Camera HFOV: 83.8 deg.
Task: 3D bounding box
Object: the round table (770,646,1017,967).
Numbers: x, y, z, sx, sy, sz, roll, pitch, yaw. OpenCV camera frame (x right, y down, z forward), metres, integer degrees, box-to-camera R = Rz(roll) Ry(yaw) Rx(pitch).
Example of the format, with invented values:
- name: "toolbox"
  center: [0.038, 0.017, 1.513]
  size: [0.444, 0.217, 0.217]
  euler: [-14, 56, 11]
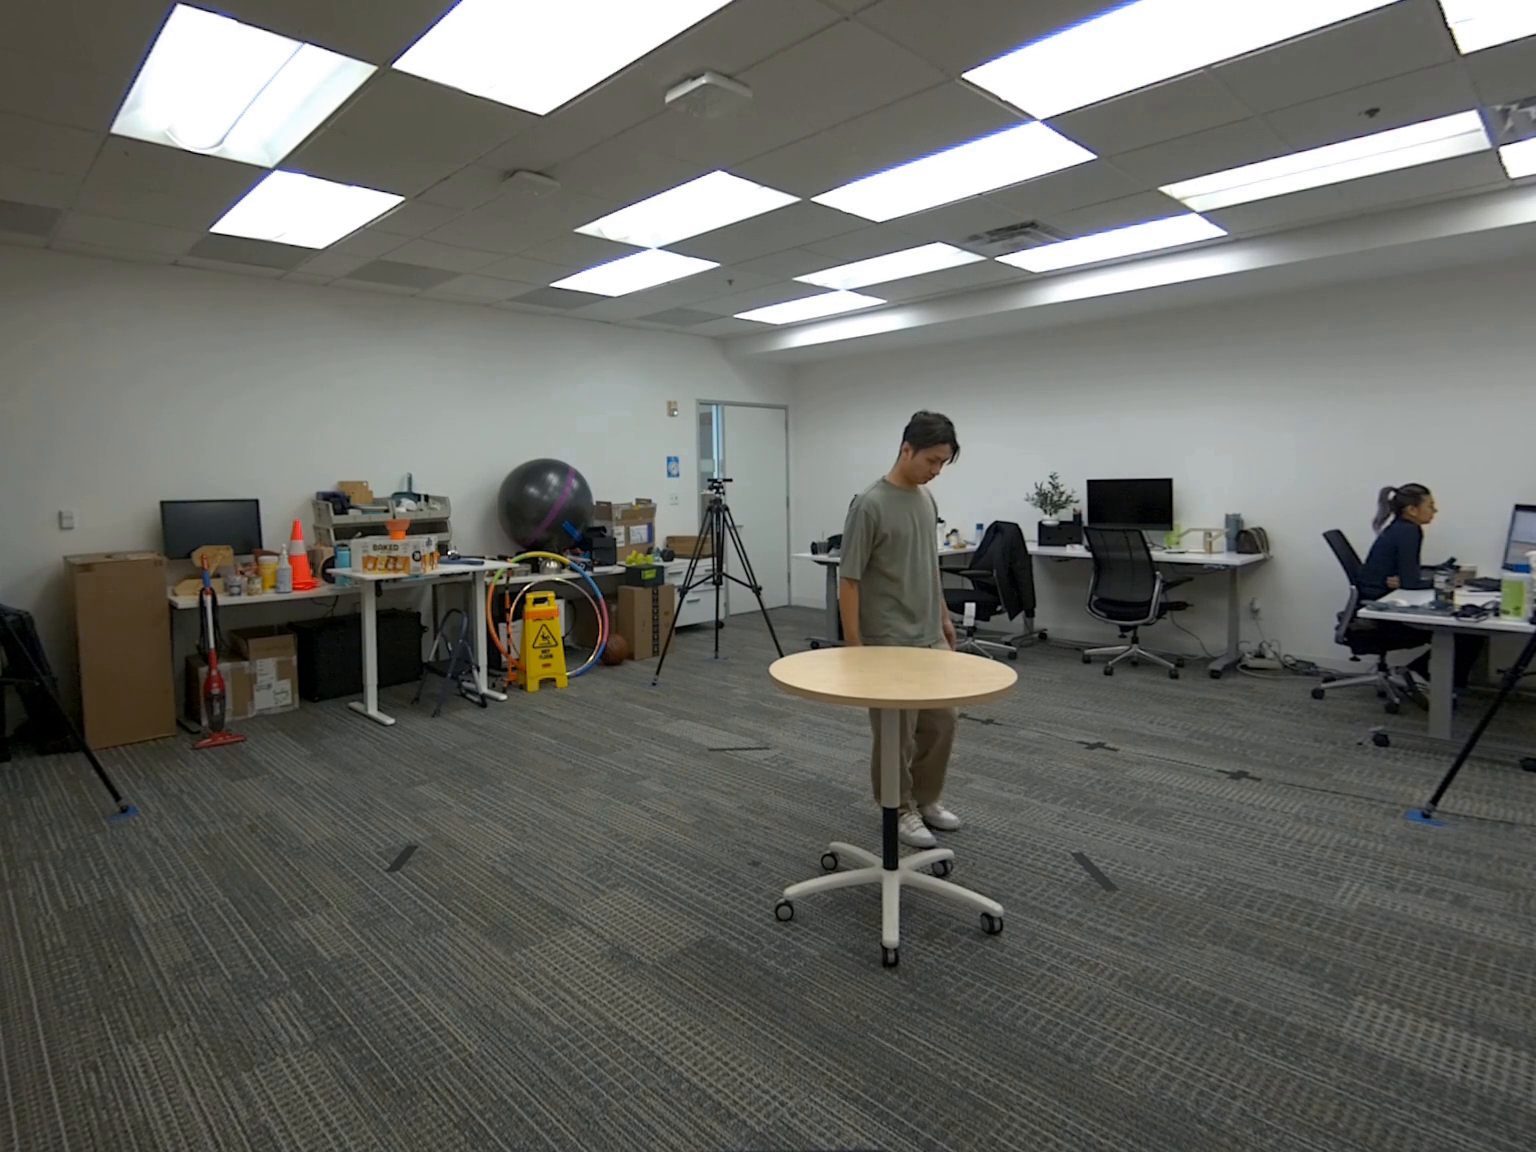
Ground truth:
- name: "round table"
  center: [0.386, 0.683, 2.746]
  size: [0.784, 0.783, 0.789]
  euler: [-1, 5, -2]
